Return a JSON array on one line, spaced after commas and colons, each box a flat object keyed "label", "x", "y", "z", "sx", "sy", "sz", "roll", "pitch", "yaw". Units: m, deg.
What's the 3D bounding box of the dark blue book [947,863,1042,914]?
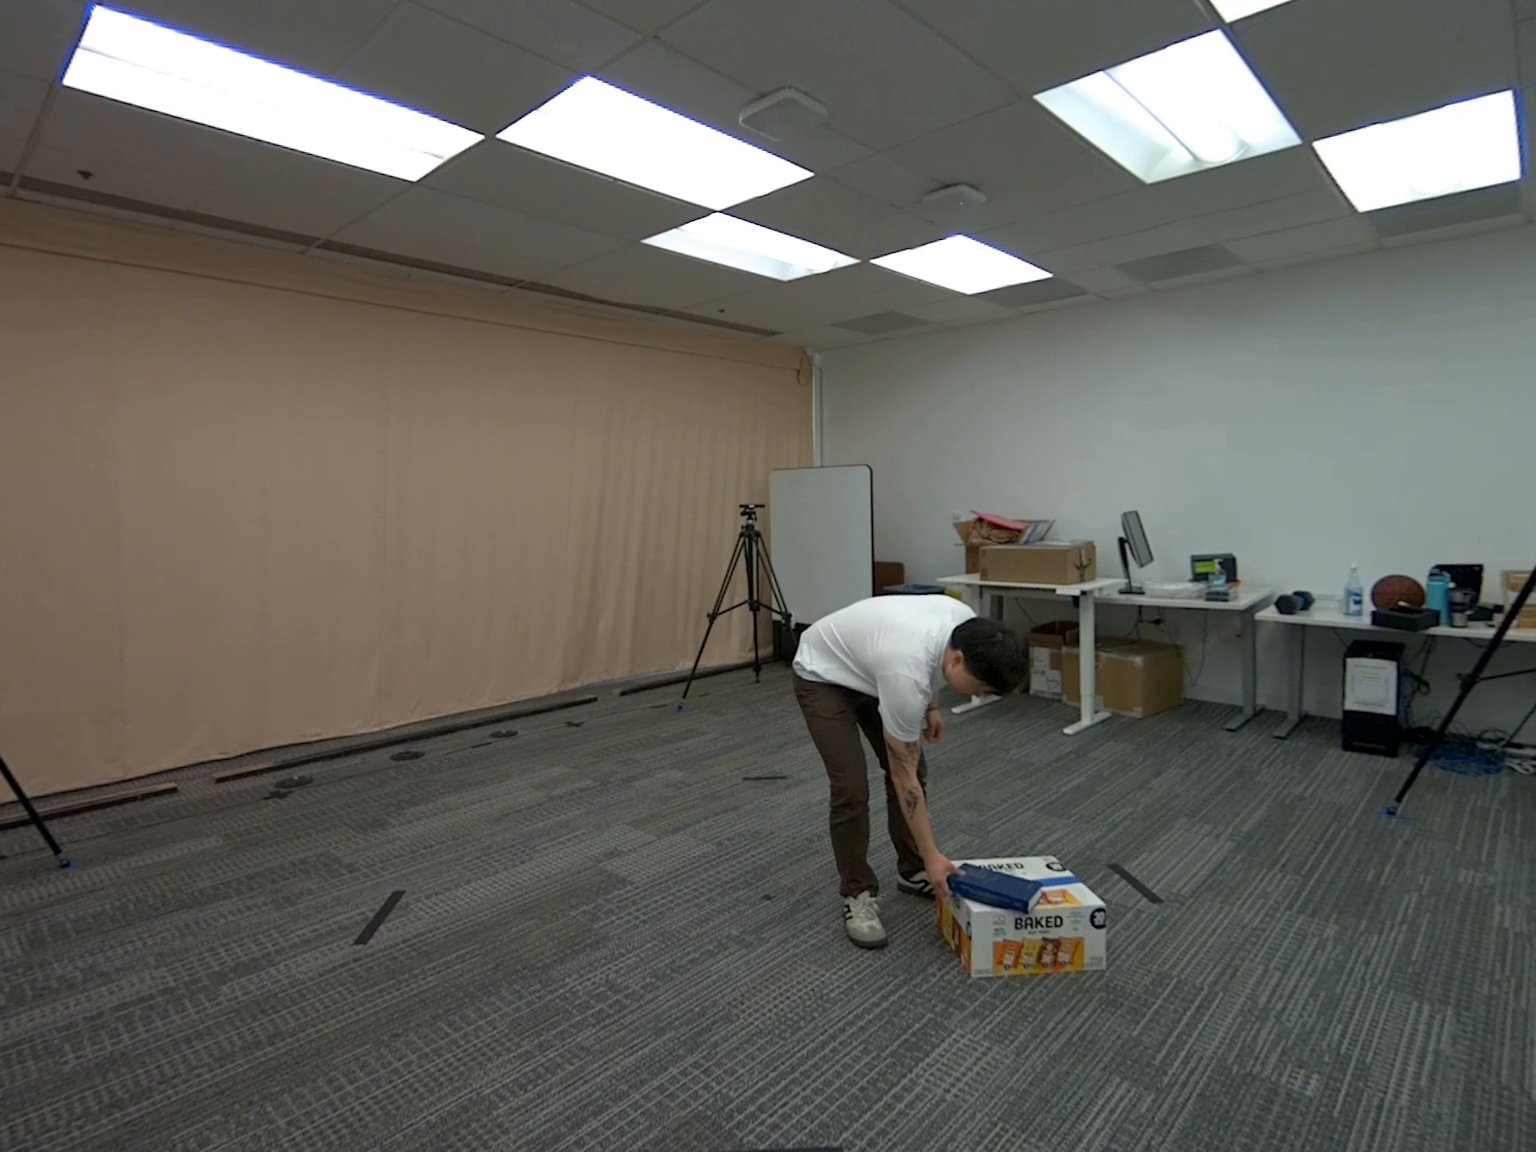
[{"label": "dark blue book", "x": 0.696, "y": 0.938, "z": 2.536, "sx": 0.253, "sy": 0.045, "sz": 0.158, "roll": 5, "pitch": 2, "yaw": 34}]
